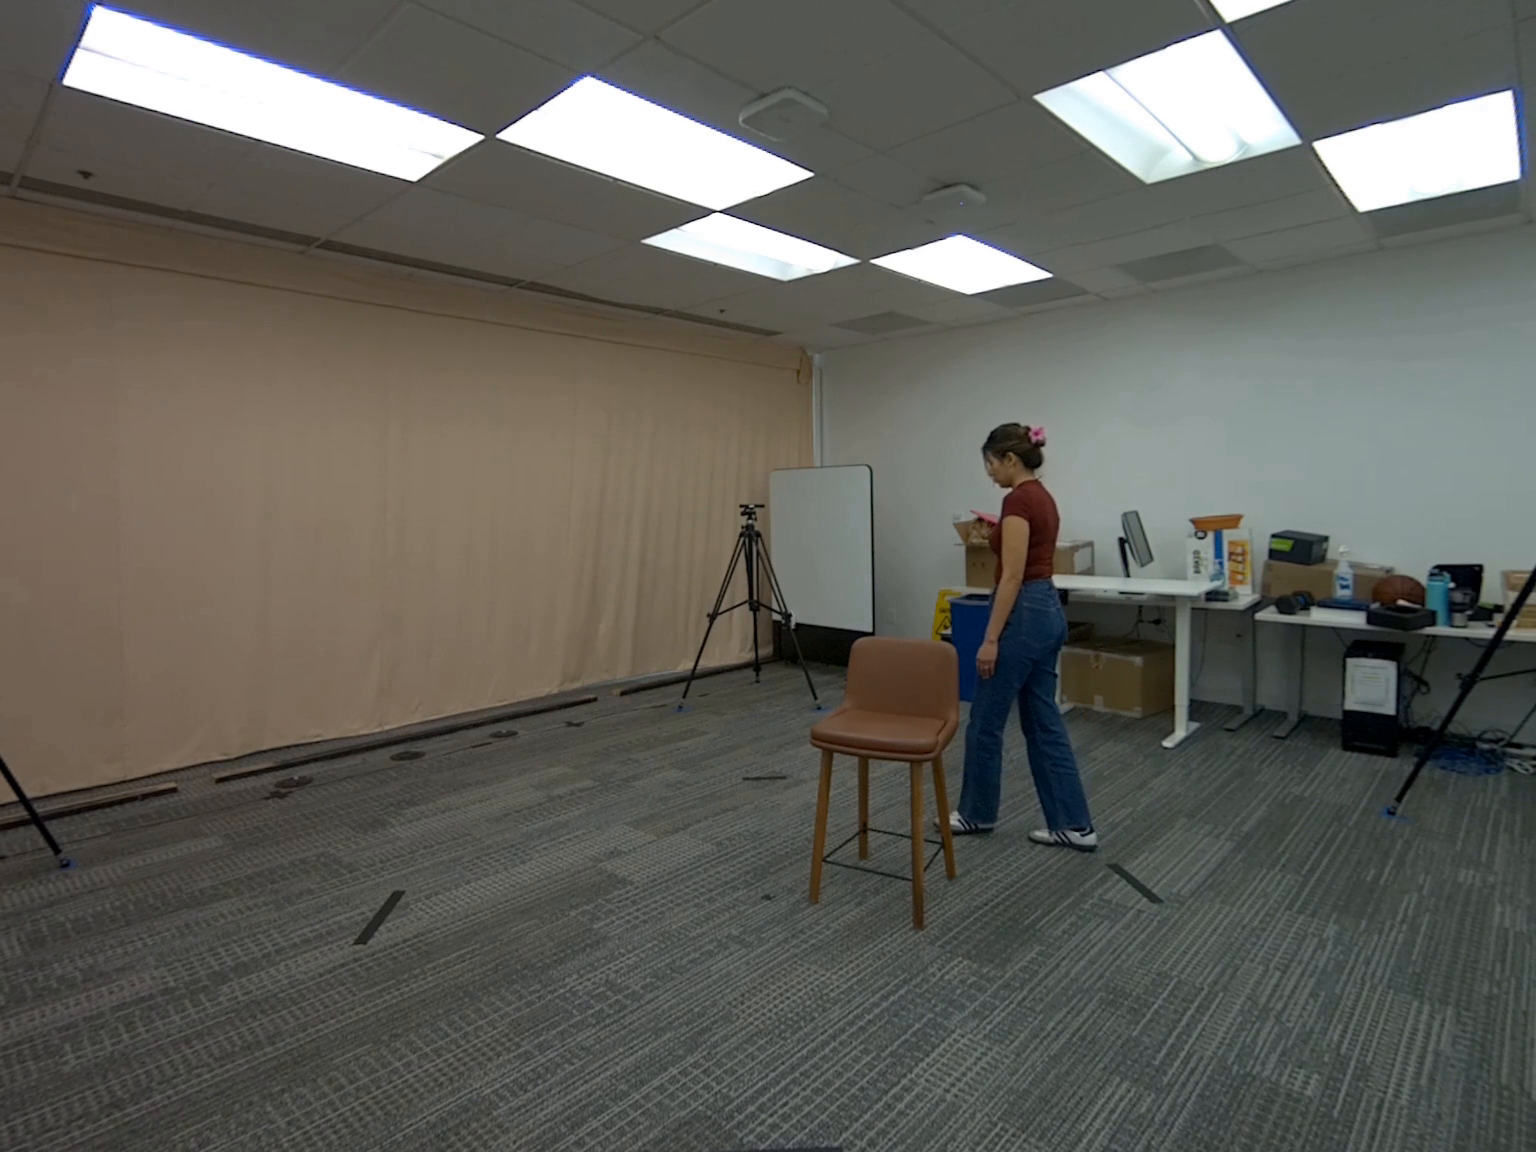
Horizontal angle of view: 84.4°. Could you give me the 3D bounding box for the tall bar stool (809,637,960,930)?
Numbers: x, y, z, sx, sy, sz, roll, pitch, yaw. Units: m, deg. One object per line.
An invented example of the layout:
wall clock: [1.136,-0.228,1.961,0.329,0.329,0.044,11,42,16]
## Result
tall bar stool: [0.428,0.693,3.006,0.470,0.889,0.454,2,2,31]
